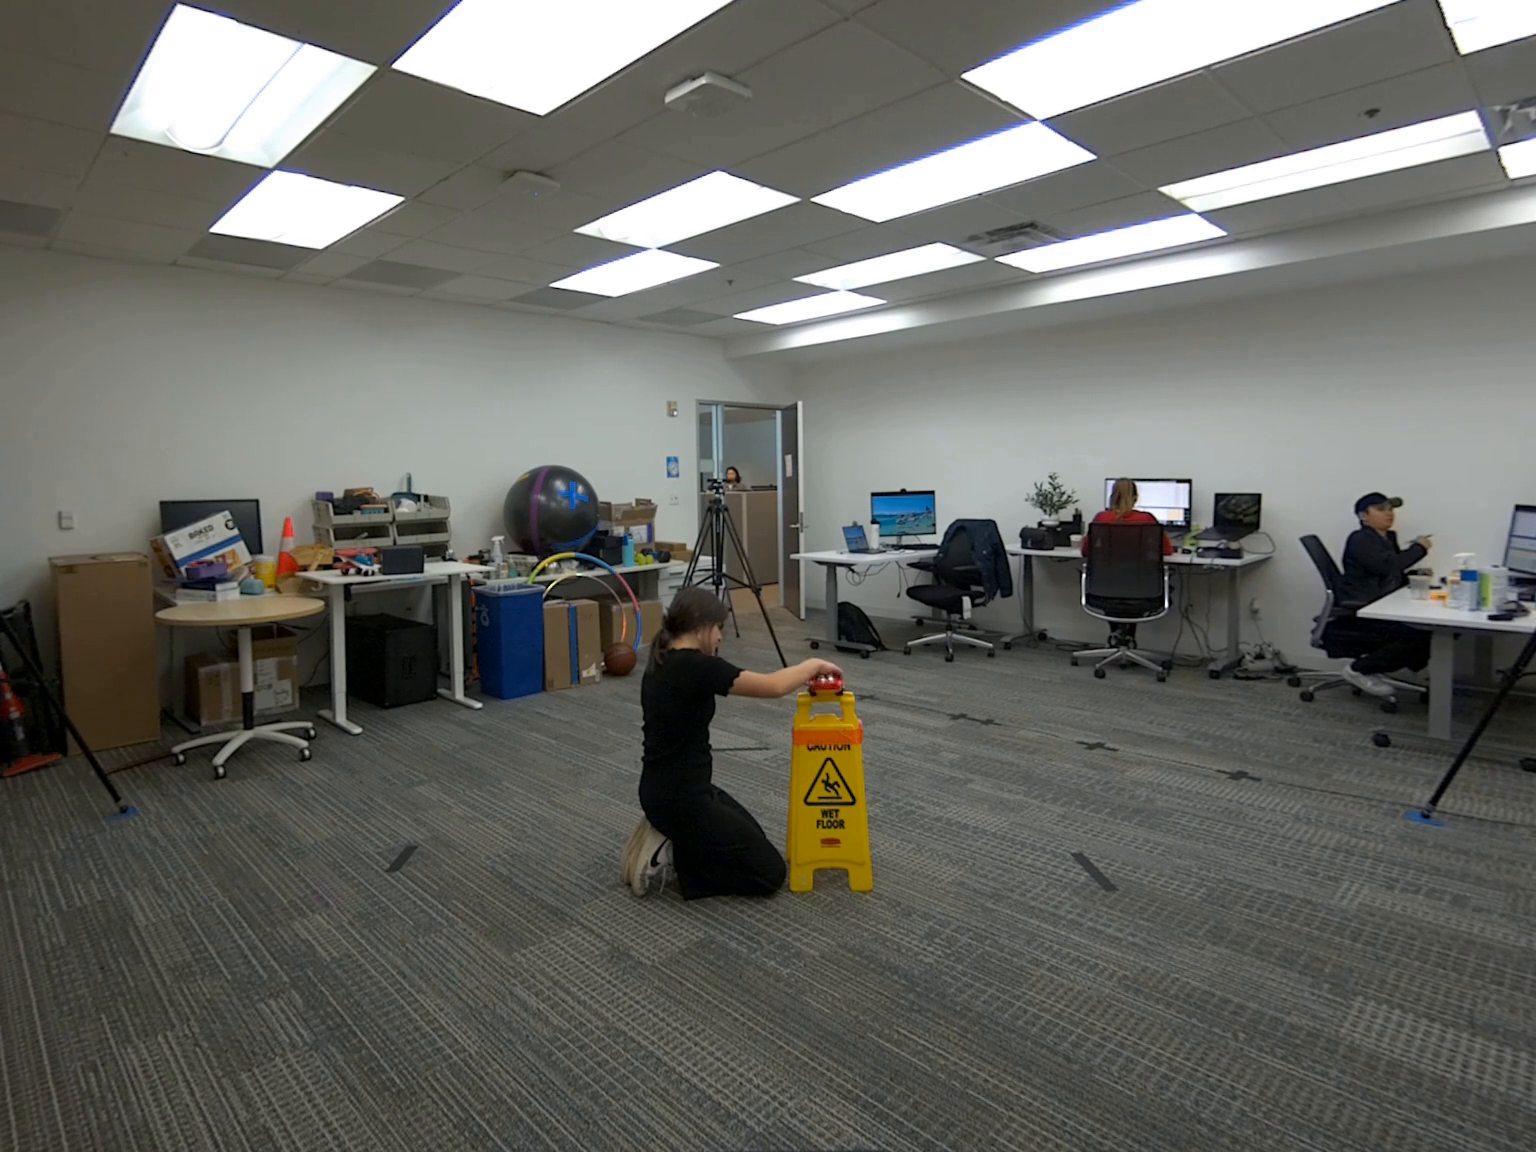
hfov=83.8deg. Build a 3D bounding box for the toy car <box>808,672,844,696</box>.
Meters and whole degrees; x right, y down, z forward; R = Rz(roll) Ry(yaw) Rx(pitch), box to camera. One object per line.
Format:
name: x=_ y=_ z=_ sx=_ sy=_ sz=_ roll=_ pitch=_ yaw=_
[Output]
toy car: x=0.201 y=0.384 z=2.988 sx=0.131 sy=0.084 sz=0.252 roll=-2 pitch=-7 yaw=2
